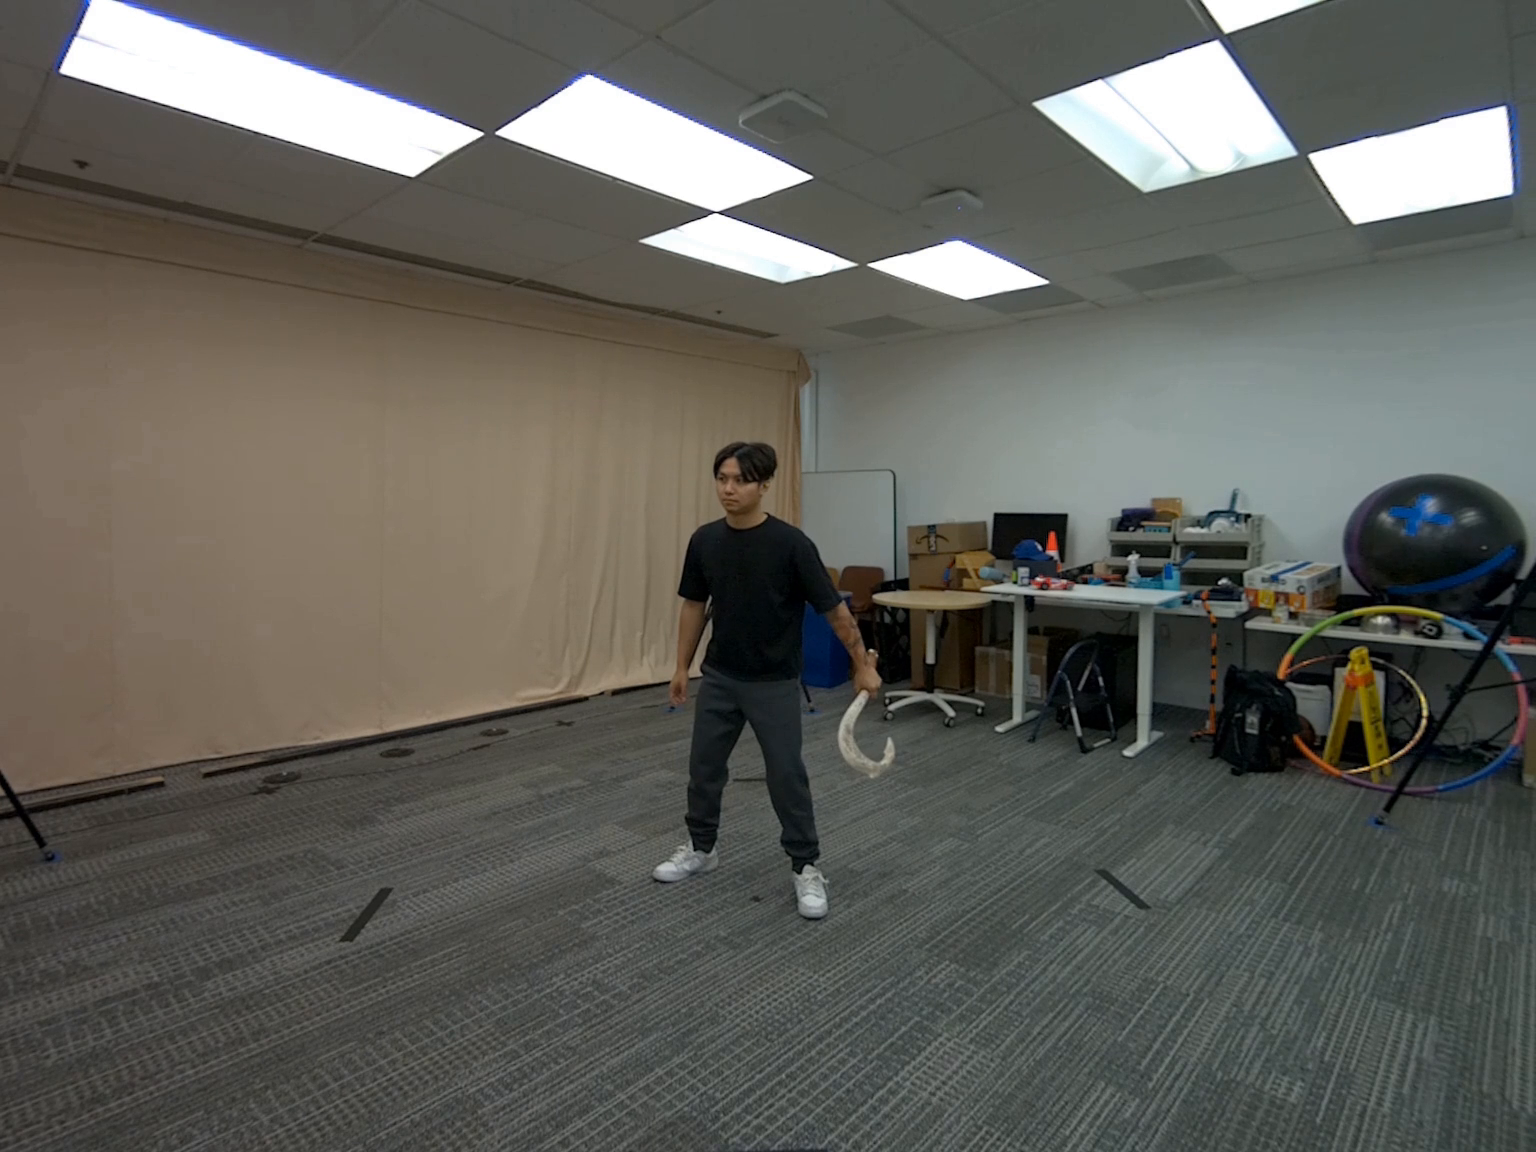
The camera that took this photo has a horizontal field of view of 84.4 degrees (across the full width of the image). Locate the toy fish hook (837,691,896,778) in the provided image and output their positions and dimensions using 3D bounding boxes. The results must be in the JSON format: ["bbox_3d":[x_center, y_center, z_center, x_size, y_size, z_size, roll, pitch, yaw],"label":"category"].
[{"bbox_3d":[0.345,0.474,2.905,0.221,0.509,0.049,37,-48,-15],"label":"toy fish hook"}]
